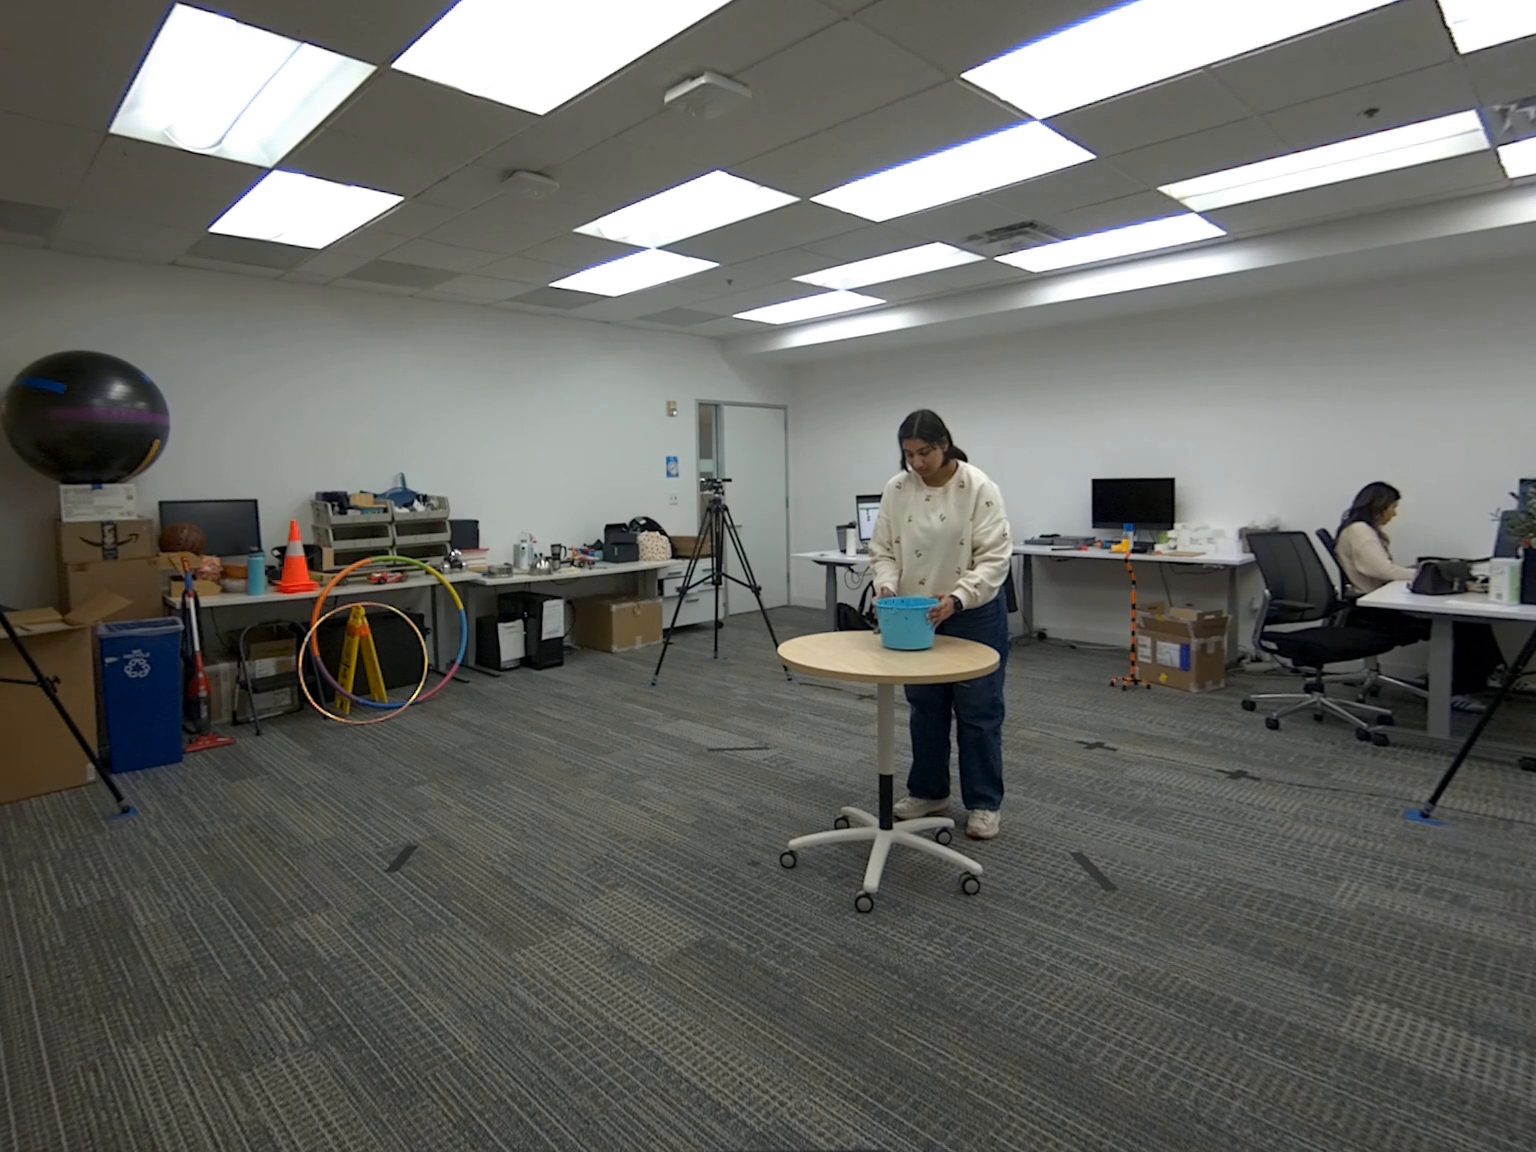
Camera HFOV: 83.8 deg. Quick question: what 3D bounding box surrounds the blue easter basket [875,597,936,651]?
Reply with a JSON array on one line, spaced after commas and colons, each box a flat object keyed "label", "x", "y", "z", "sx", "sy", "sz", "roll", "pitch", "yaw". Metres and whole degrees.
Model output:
[{"label": "blue easter basket", "x": 0.504, "y": 0.174, "z": 3.075, "sx": 0.243, "sy": 0.155, "sz": 0.245, "roll": 0, "pitch": 7, "yaw": -2}]
